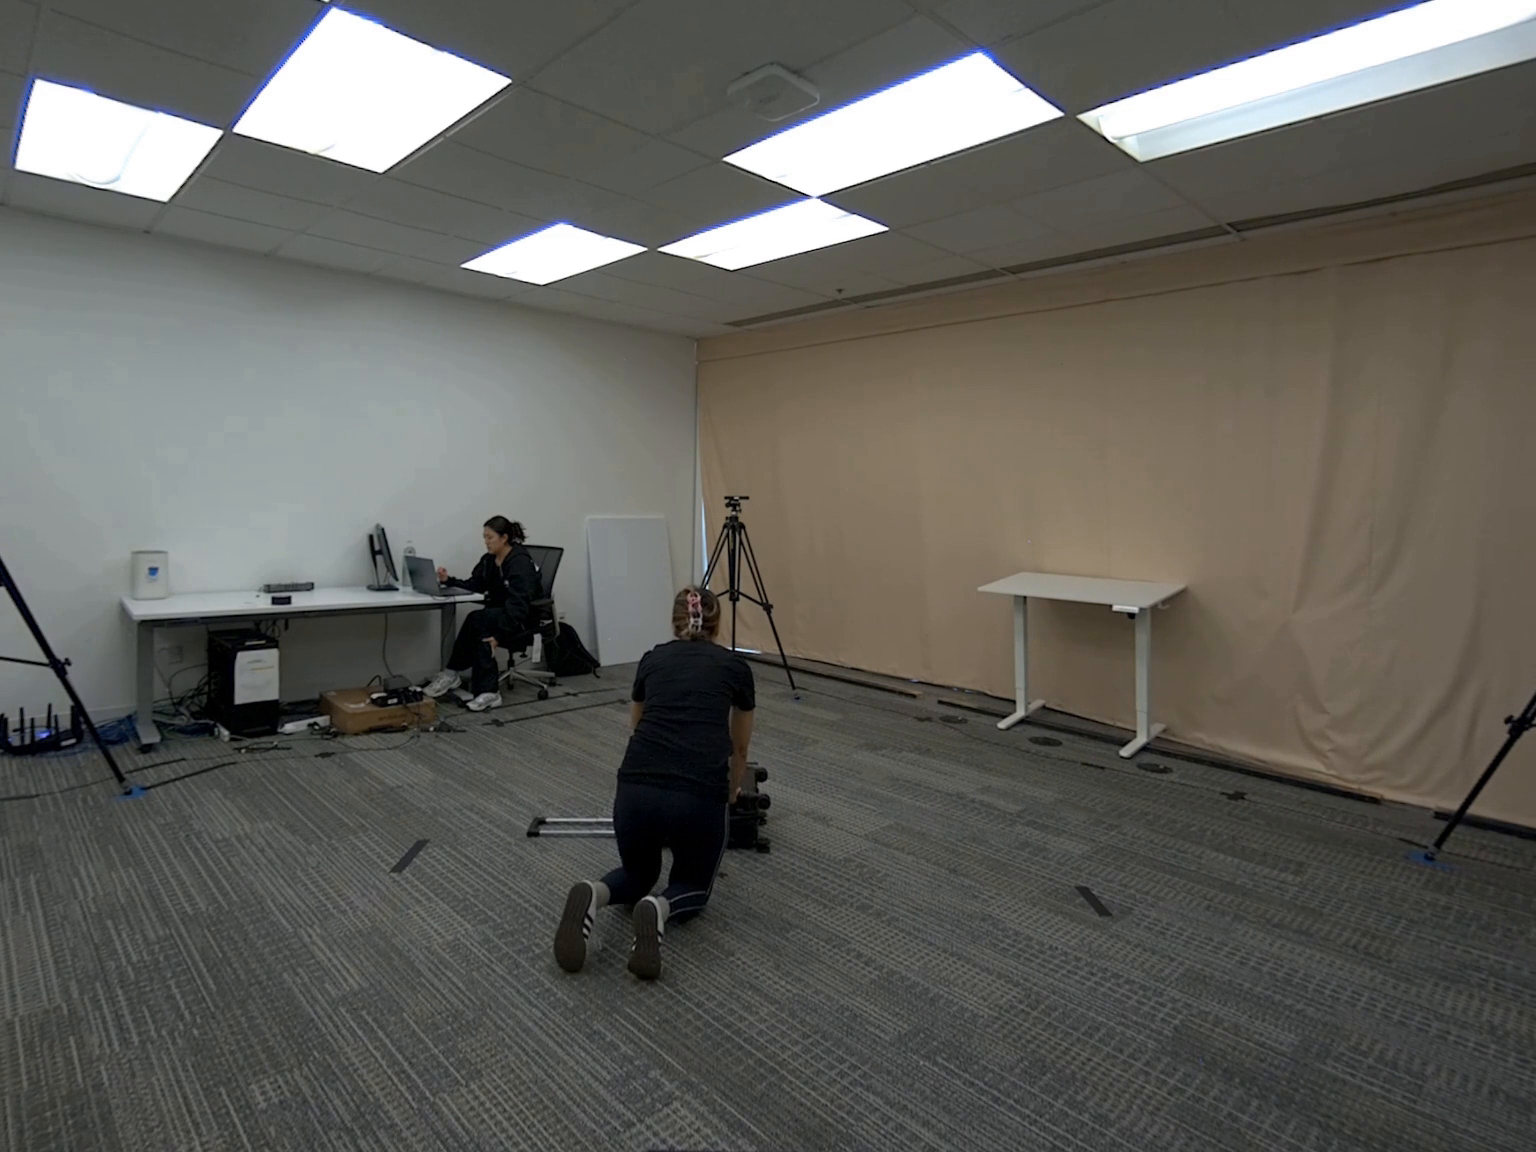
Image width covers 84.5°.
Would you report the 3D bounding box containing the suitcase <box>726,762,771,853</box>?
[{"bbox_3d":[-0.483,0.943,3.492,0.979,0.256,0.385,3,6,0],"label":"suitcase"}]
